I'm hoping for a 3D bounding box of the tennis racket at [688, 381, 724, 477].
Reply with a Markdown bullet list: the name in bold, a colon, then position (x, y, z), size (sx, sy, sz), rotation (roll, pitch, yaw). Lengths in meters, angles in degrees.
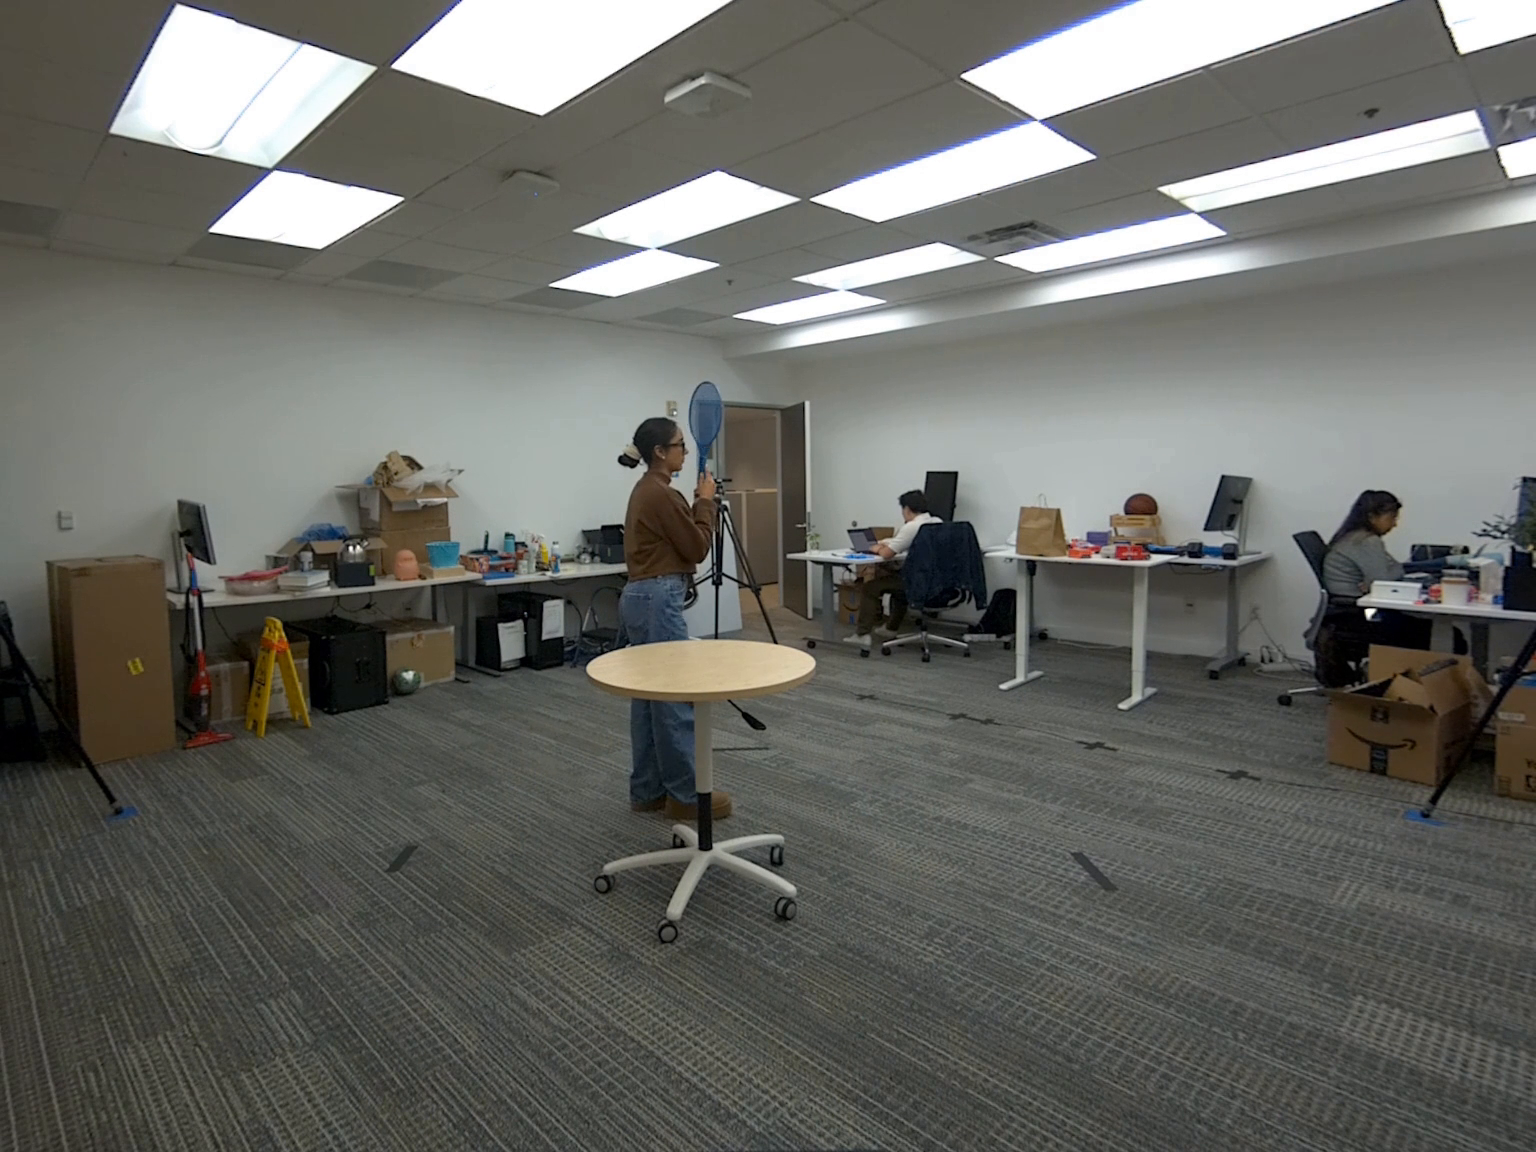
- **tennis racket**: position (-0.278, -0.602, 3.582), size (0.031, 0.430, 0.221), rotation (3, 10, -41)
